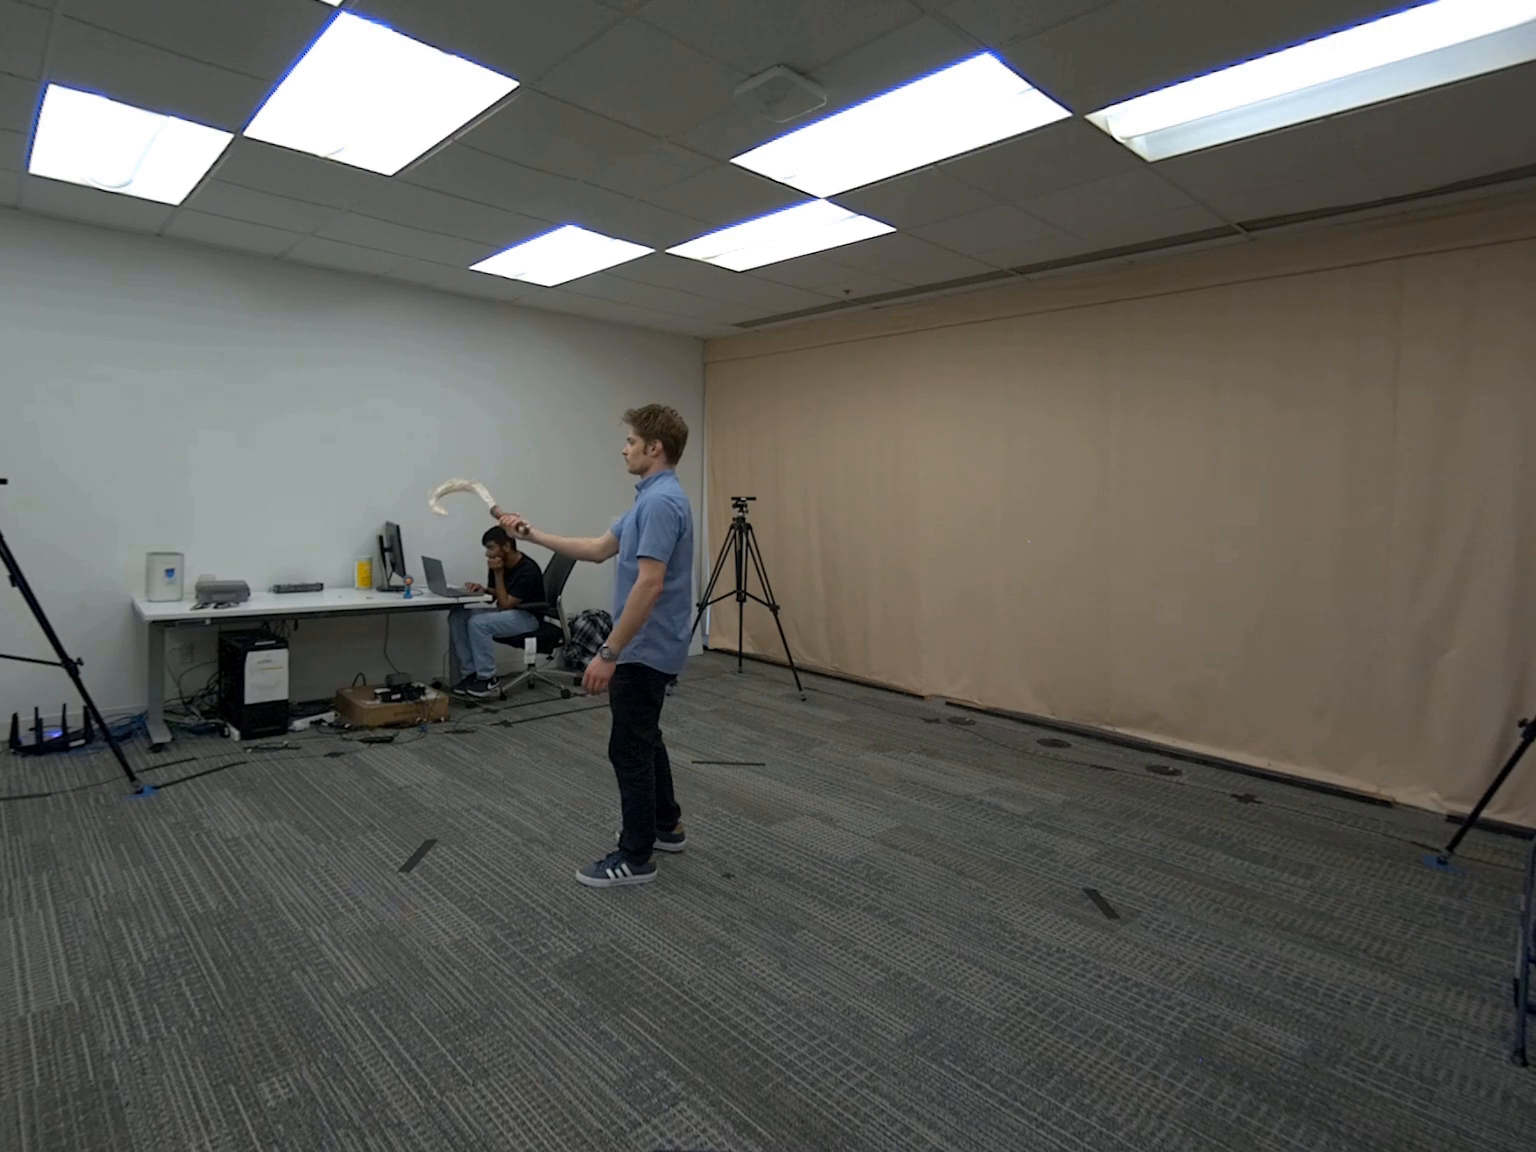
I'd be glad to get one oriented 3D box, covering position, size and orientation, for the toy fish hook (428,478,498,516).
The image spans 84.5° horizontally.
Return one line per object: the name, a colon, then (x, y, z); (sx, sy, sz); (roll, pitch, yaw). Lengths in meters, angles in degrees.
toy fish hook: (-1.076, -0.238, 3.184); (0.520, 0.047, 0.224); (28, 54, 30)
